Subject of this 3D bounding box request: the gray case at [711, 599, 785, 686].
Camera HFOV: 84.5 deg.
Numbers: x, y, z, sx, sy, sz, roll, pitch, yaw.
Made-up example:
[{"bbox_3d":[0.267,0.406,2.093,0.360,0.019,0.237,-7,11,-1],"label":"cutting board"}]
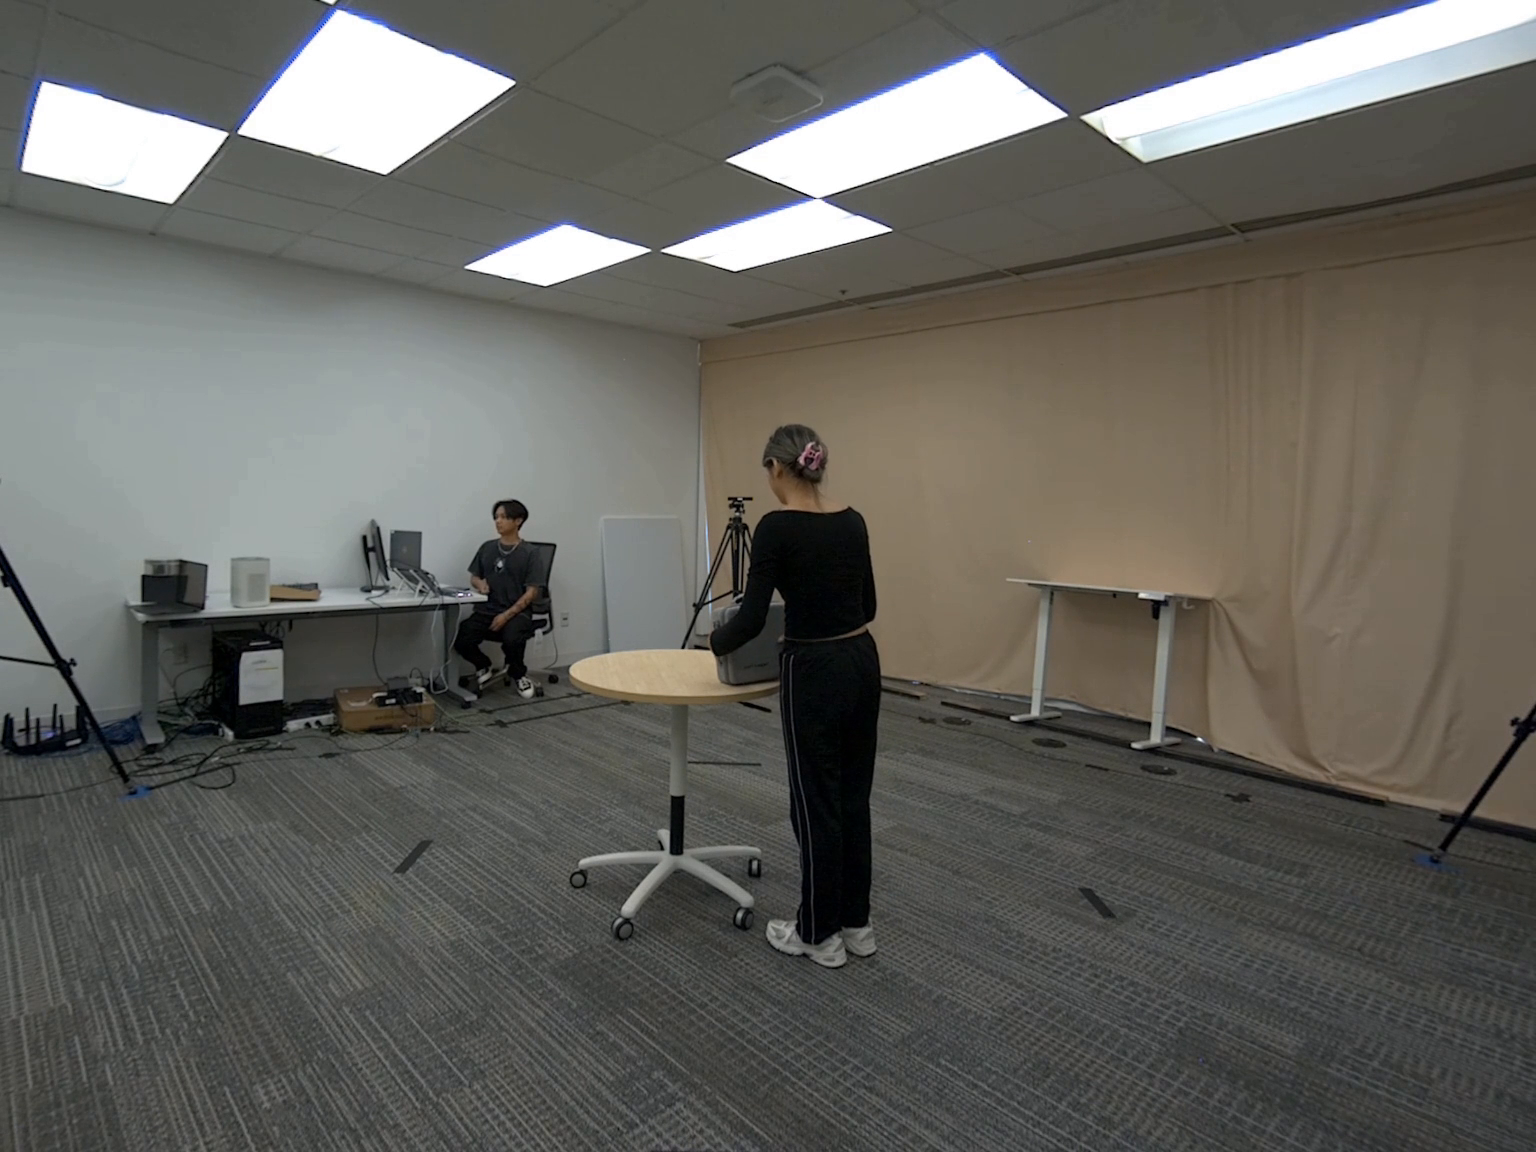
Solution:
[{"bbox_3d":[-0.048,0.215,2.783,0.253,0.261,0.106,-4,-3,-24],"label":"gray case"}]
